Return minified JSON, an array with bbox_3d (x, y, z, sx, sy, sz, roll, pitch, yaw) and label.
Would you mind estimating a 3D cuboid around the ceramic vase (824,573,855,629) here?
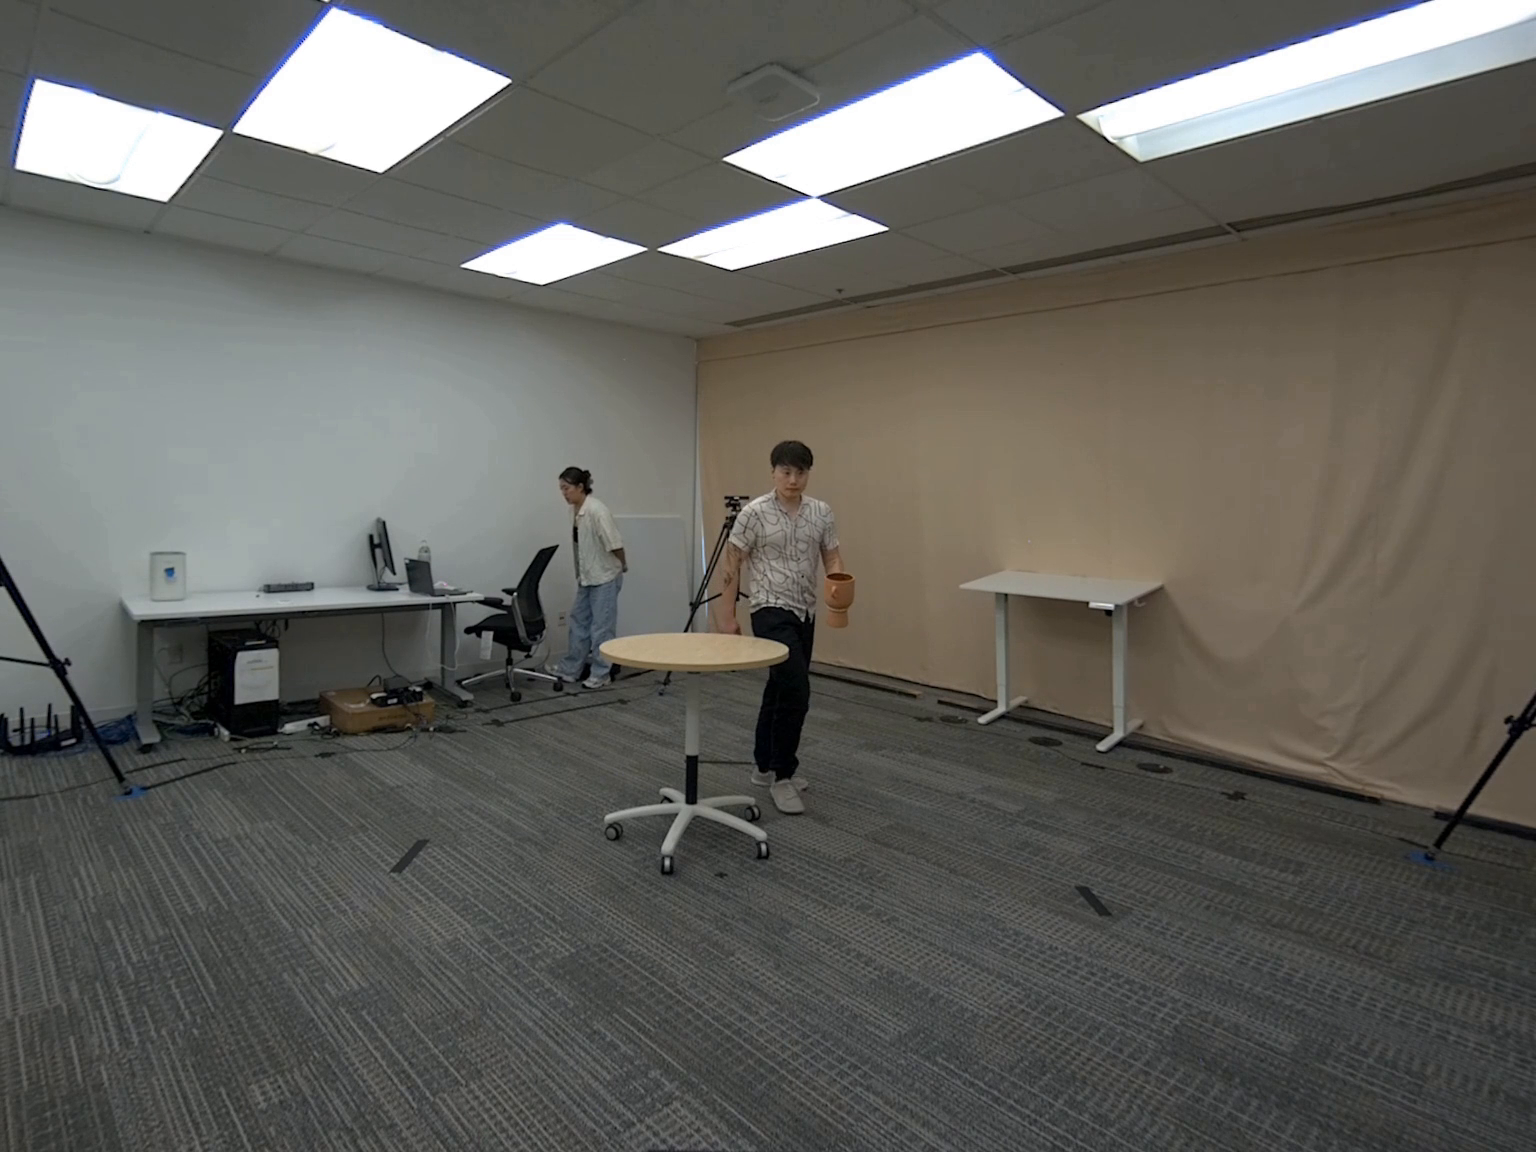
[{"bbox_3d":[0.299,0.106,3.723,0.156,0.217,0.138,-7,16,-29],"label":"ceramic vase"}]
